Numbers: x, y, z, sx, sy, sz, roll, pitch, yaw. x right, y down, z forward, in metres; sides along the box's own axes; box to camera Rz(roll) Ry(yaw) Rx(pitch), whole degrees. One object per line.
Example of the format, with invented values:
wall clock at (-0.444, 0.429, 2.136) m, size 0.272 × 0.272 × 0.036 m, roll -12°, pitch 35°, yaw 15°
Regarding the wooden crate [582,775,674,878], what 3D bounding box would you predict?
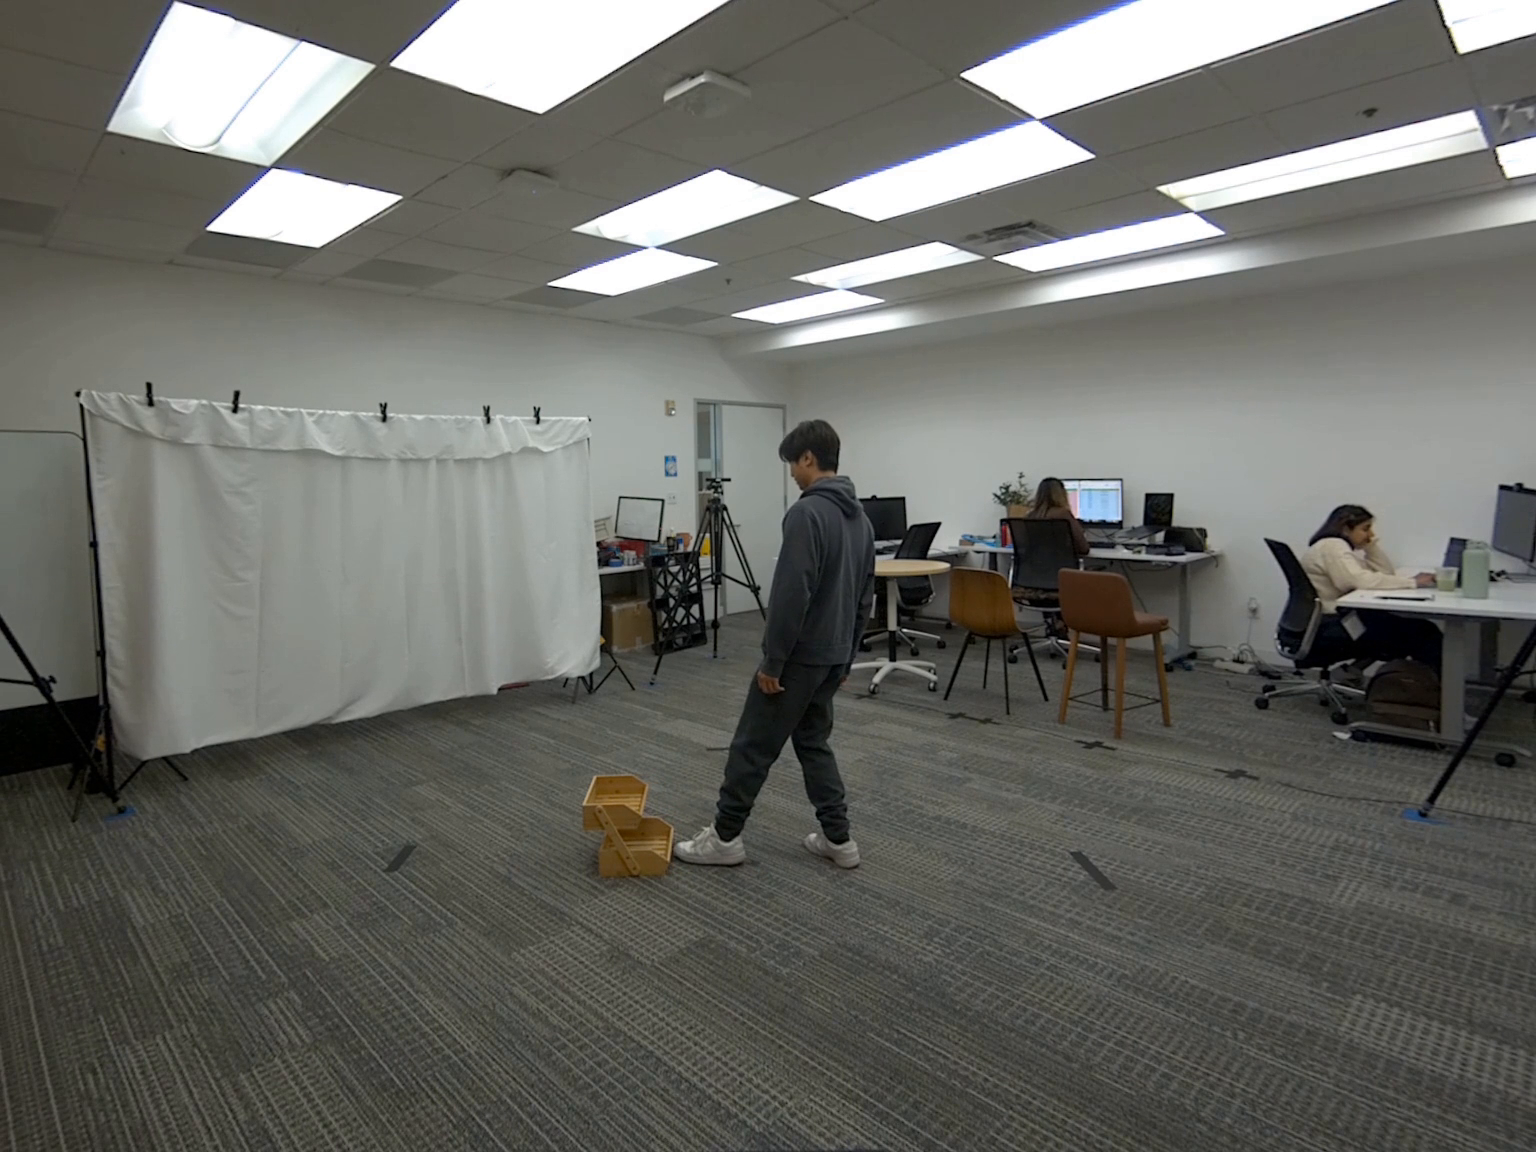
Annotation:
wooden crate at (-0.499, 0.907, 3.161) m, size 0.301 × 0.272 × 0.327 m, roll -2°, pitch 5°, yaw -3°
